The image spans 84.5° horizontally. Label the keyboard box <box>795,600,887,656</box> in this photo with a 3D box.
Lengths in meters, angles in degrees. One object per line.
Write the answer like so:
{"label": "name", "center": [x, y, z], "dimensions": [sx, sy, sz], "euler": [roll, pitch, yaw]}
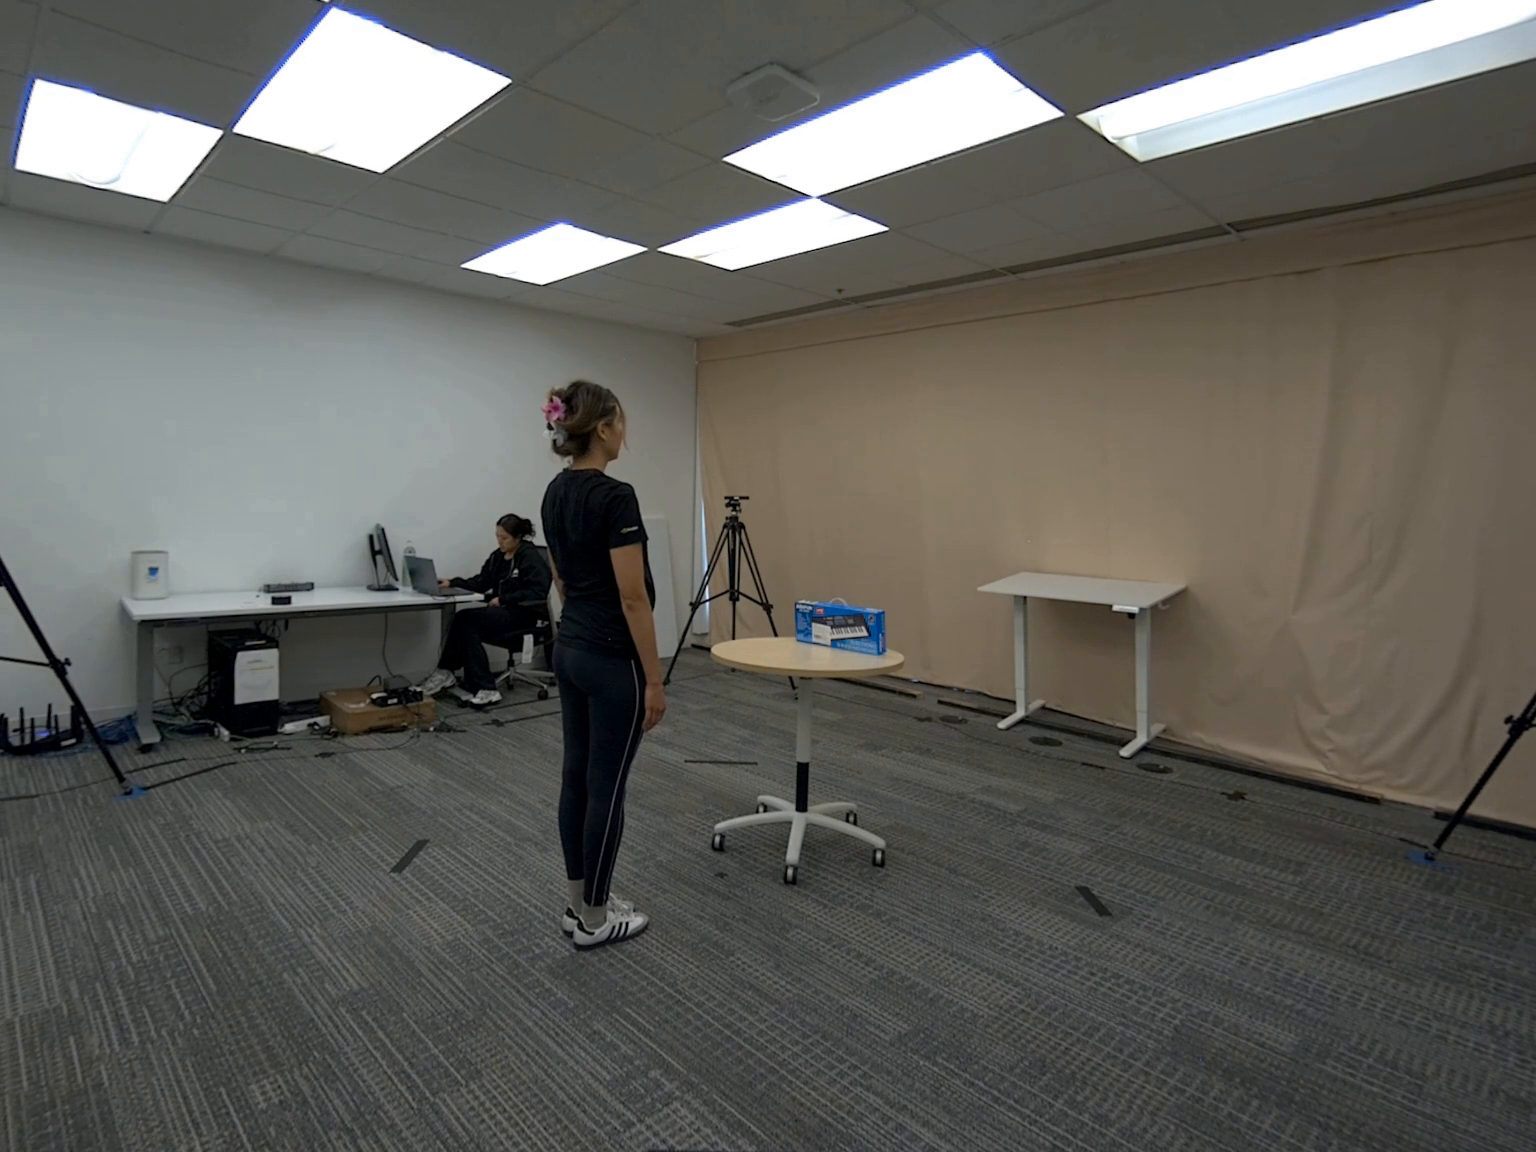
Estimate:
{"label": "keyboard box", "center": [0.288, 0.211, 3.500], "dimensions": [0.058, 0.175, 0.448], "euler": [-8, 10, -44]}
